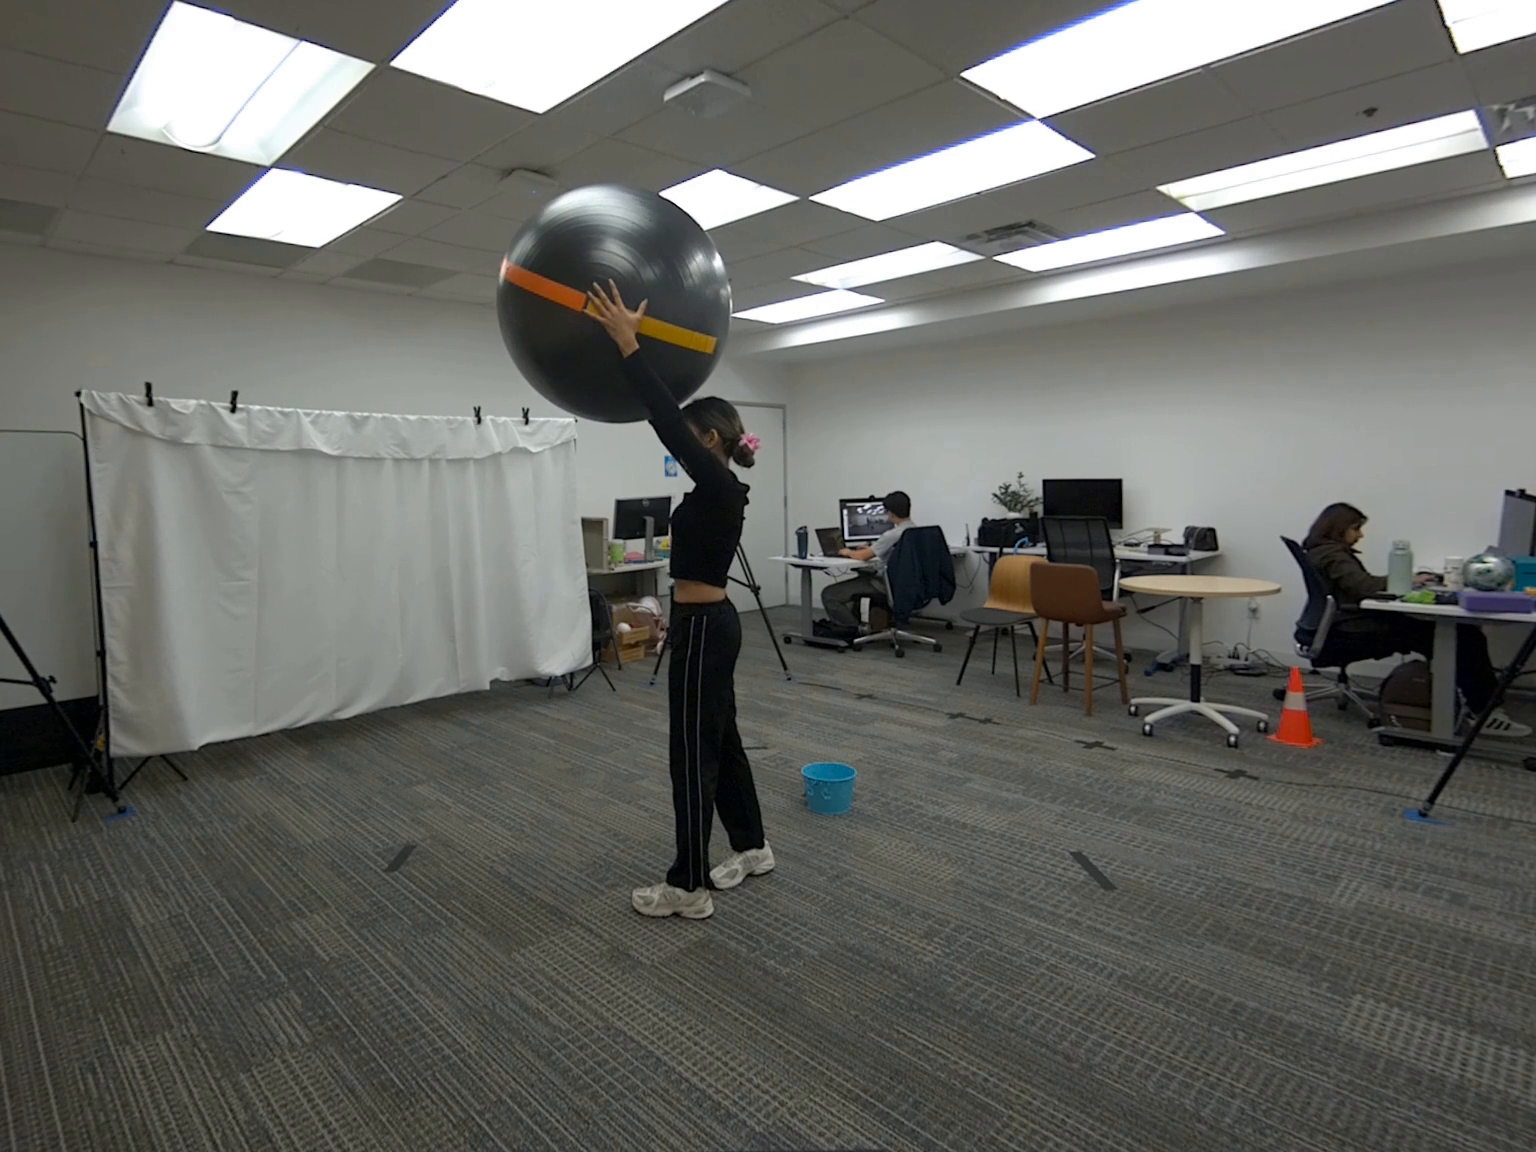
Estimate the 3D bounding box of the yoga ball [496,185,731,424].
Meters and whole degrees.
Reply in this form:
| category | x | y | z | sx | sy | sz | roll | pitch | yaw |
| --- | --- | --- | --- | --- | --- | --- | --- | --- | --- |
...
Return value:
| category | x | y | z | sx | sy | sz | roll | pitch | yaw |
| --- | --- | --- | --- | --- | --- | --- | --- | --- | --- |
| yoga ball | -0.498 | -0.877 | 2.805 | 0.757 | 0.755 | 0.762 | -1 | 5 | -2 |
